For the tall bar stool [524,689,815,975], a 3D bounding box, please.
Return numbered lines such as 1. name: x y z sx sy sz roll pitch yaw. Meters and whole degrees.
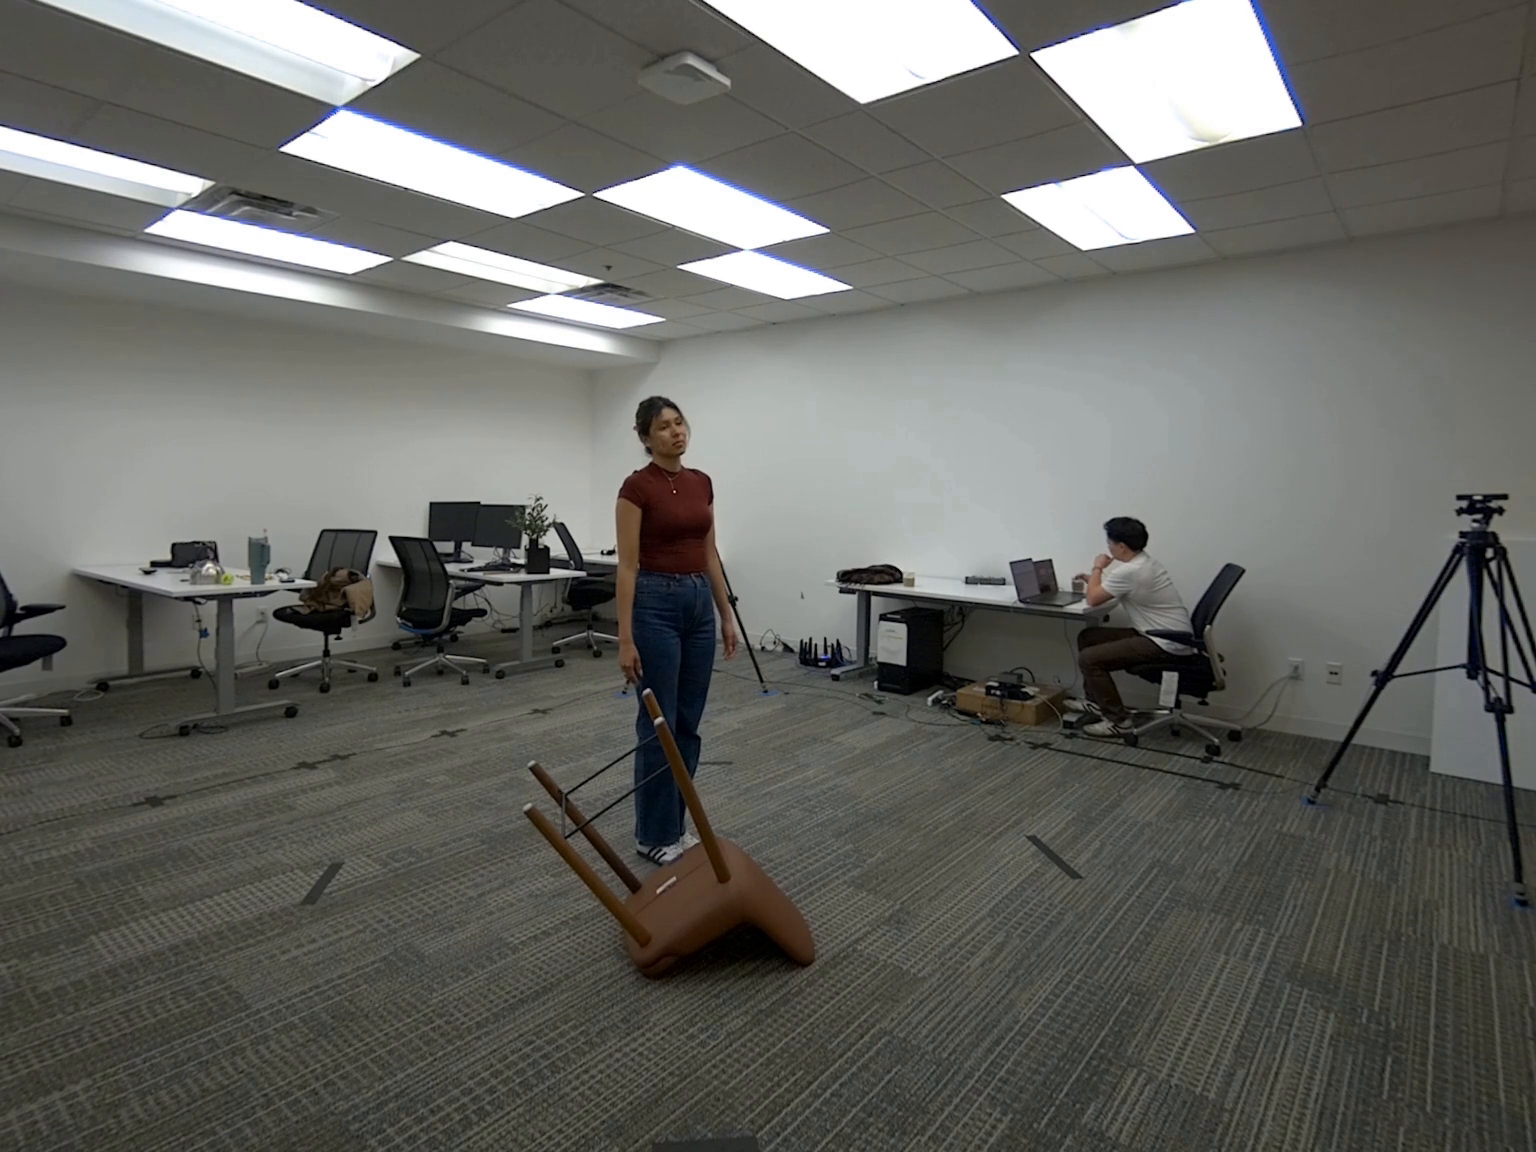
1. tall bar stool: -0.308 0.861 2.588 0.466 0.878 0.464 -34 10 -8
